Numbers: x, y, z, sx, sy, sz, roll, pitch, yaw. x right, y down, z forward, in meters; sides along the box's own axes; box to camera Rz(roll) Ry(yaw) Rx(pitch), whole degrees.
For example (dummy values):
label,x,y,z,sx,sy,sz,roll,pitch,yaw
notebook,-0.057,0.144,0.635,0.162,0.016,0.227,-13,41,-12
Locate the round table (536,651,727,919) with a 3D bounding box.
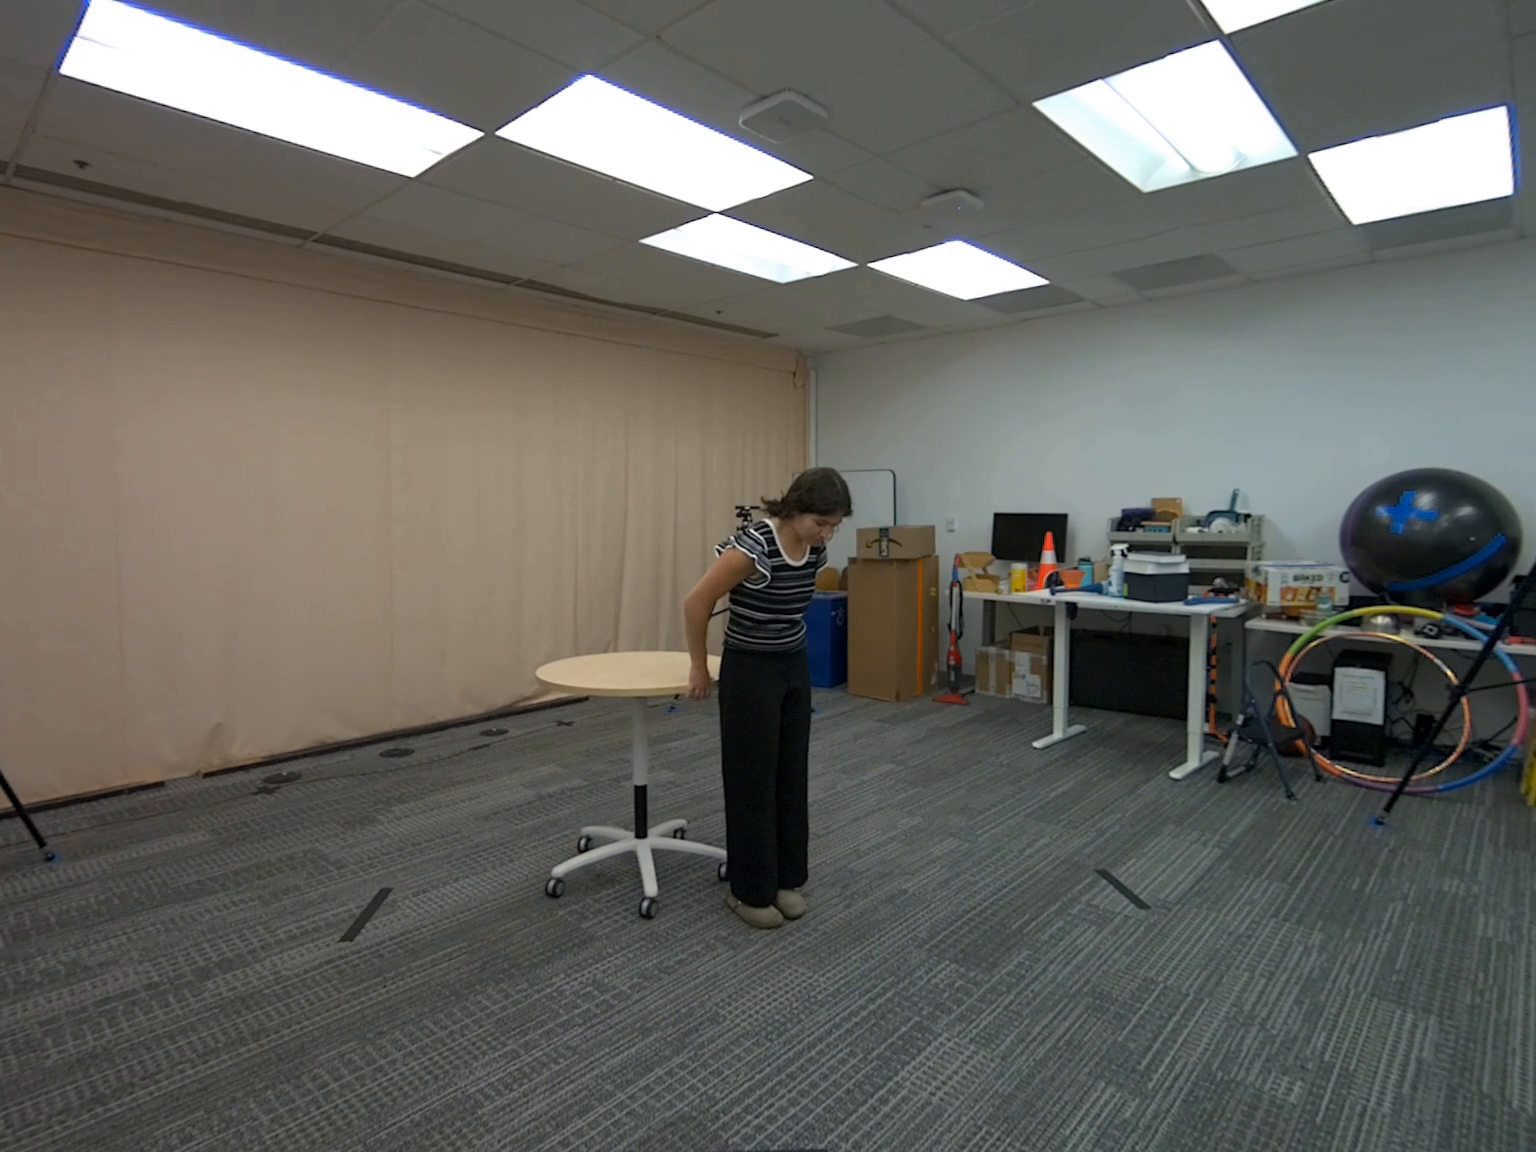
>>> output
label,x,y,z,sx,sy,sz,roll,pitch,yaw
round table,-0.469,0.738,3.175,0.784,0.785,0.787,-1,3,-2
